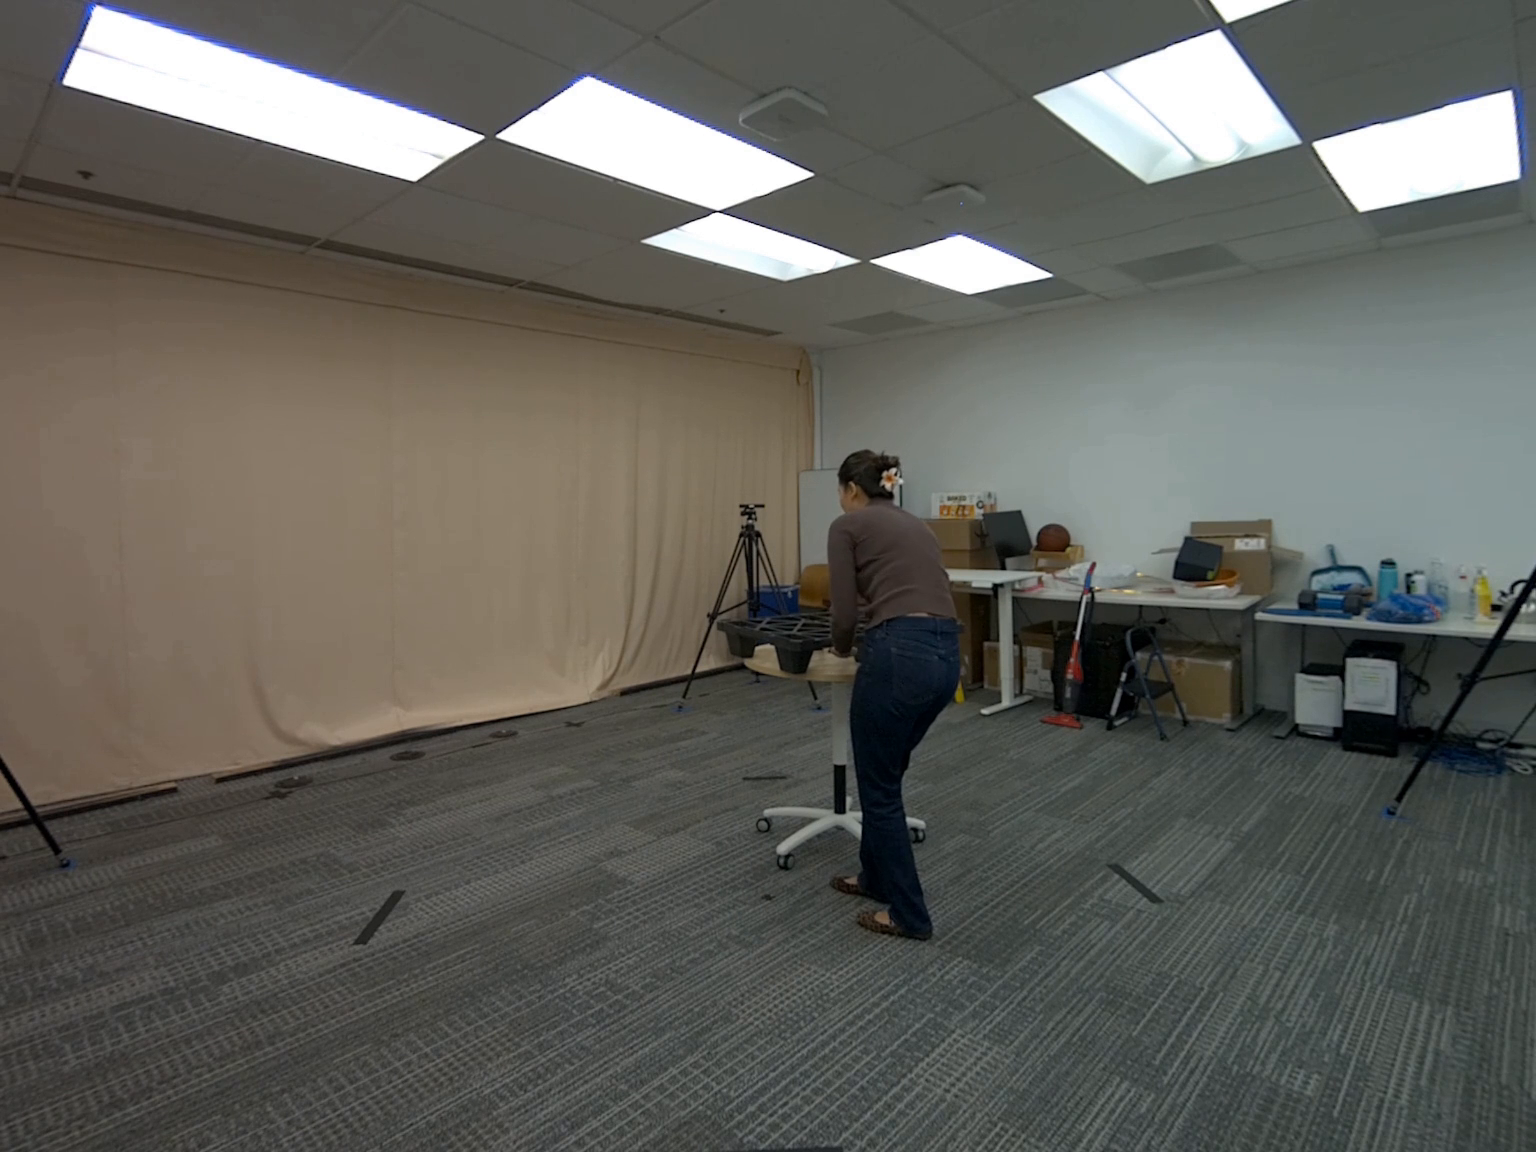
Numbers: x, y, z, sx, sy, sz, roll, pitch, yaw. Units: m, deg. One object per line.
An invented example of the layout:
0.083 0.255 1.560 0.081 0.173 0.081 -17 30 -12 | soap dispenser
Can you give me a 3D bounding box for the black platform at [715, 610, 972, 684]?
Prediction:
0.287 0.252 3.370 0.784 0.143 0.623 -3 6 -30 | black platform
